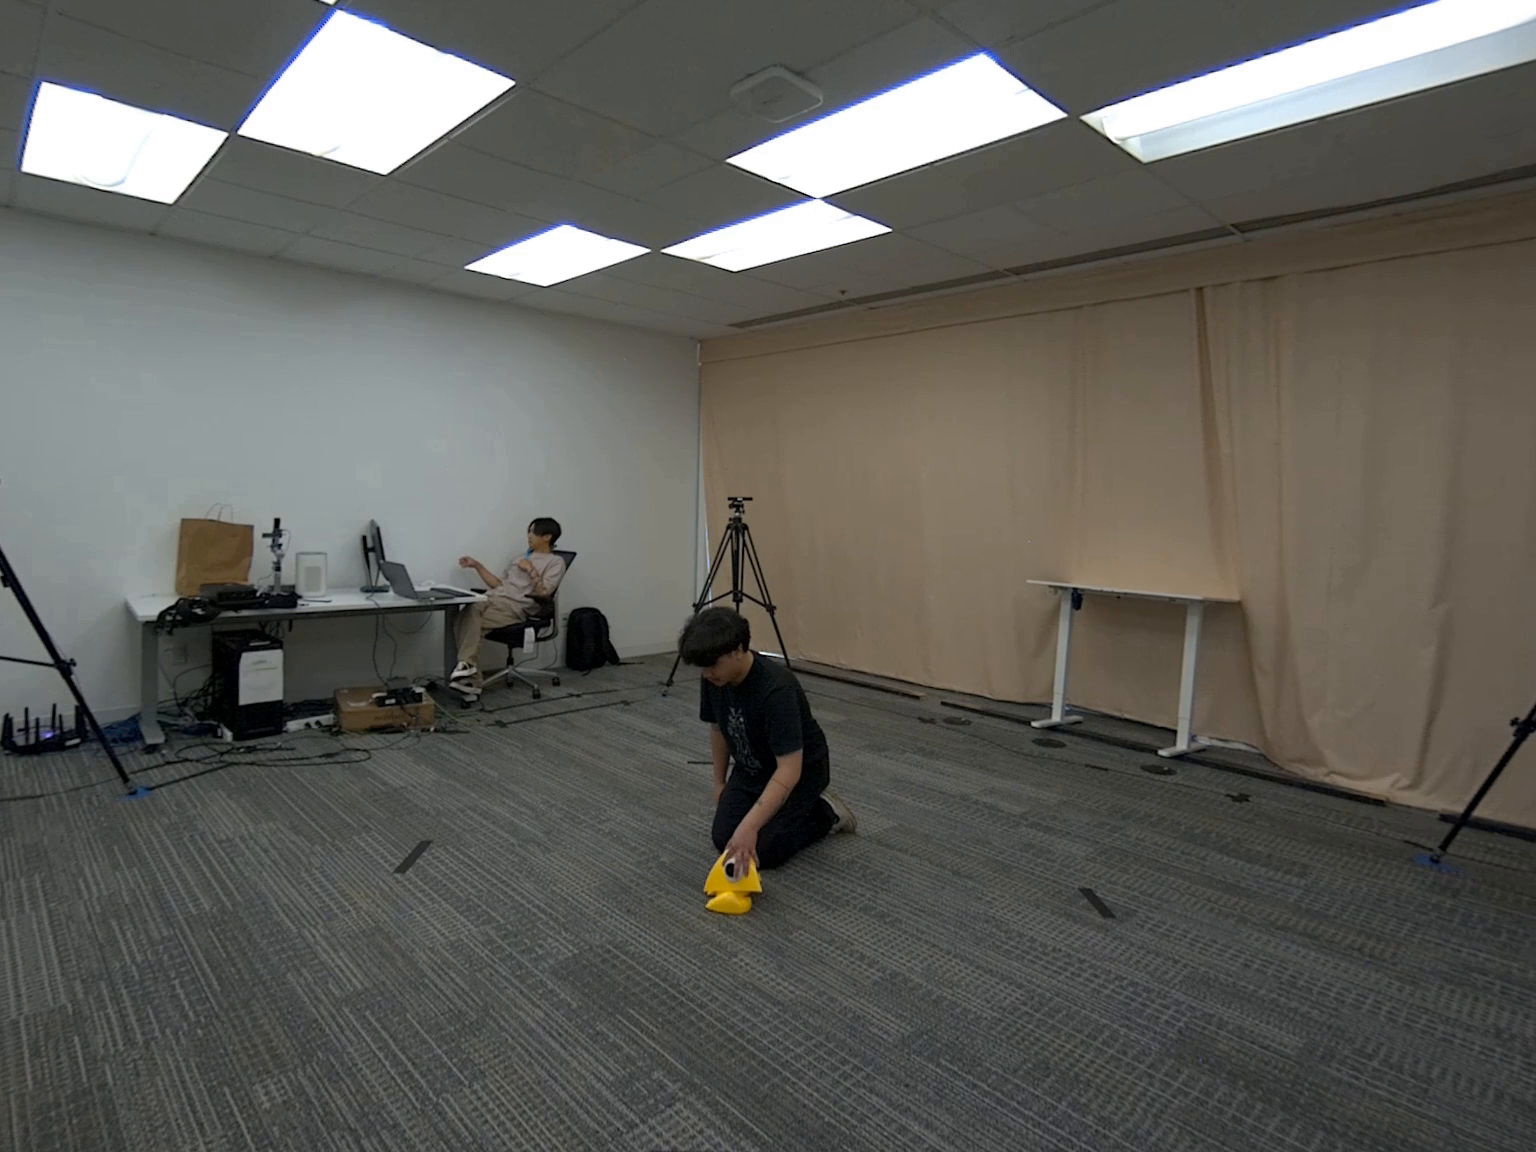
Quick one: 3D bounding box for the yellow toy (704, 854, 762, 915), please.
[{"bbox_3d":[-0.138,1.012,2.912,0.192,0.230,0.206,3,3,-5],"label":"yellow toy"}]
